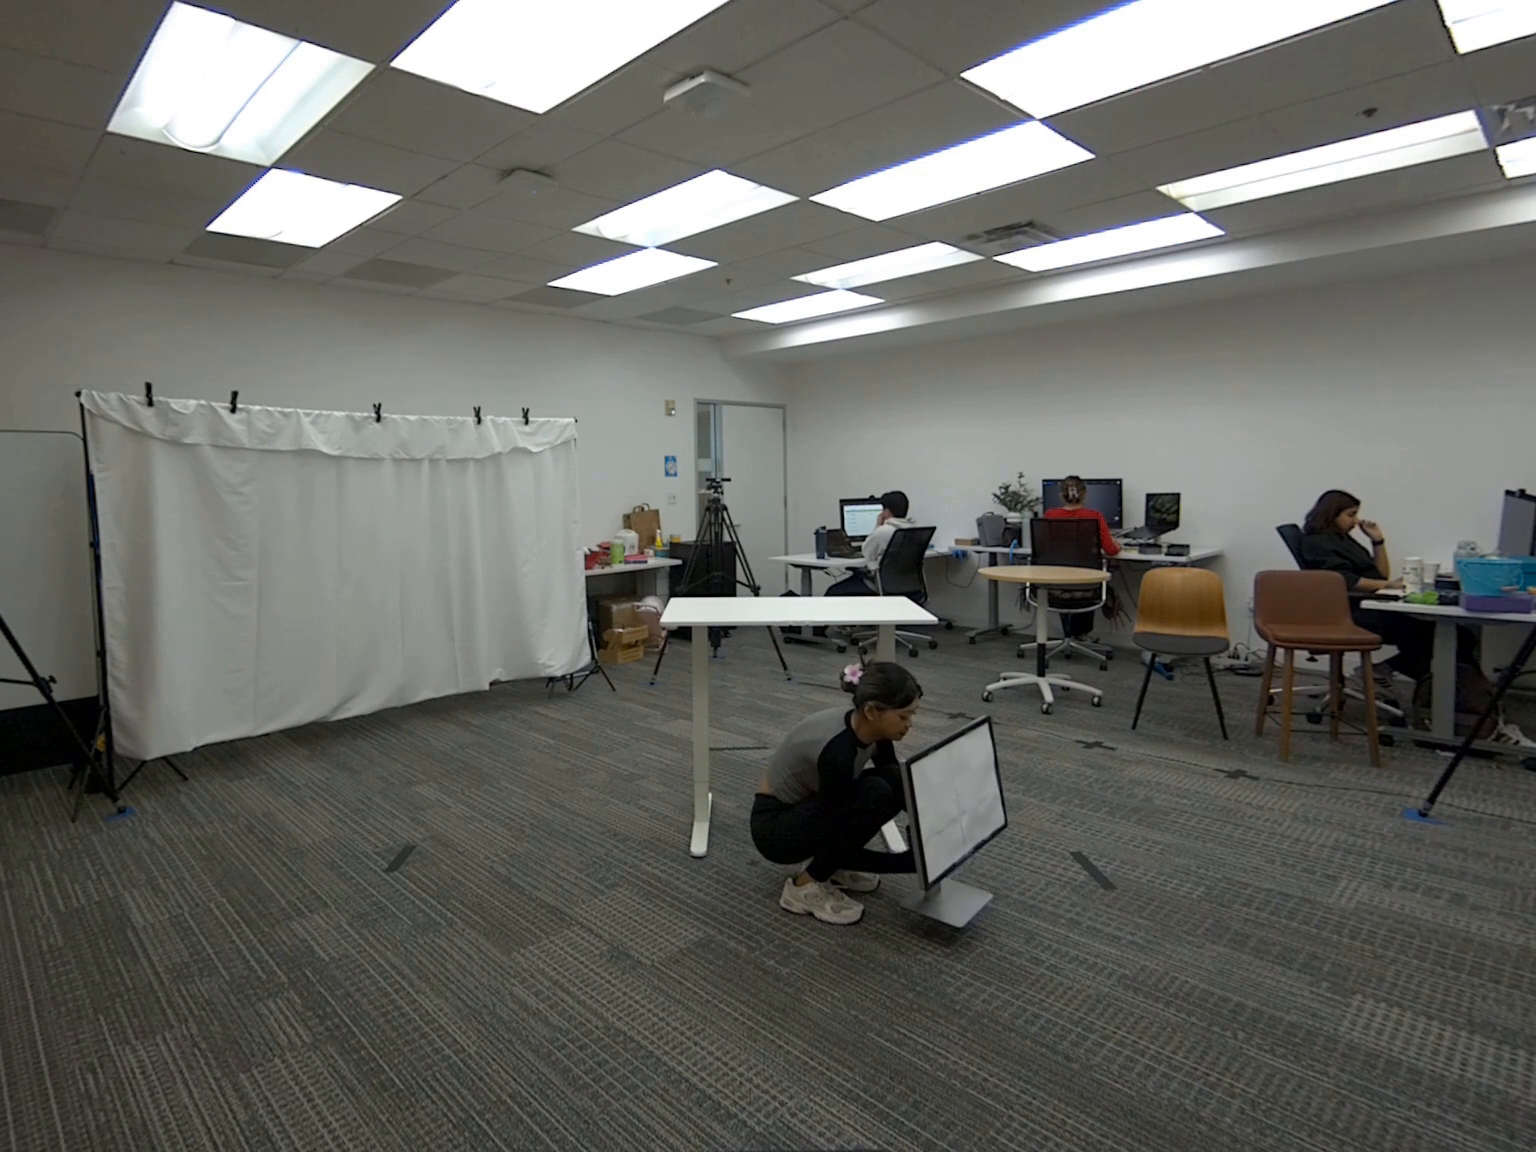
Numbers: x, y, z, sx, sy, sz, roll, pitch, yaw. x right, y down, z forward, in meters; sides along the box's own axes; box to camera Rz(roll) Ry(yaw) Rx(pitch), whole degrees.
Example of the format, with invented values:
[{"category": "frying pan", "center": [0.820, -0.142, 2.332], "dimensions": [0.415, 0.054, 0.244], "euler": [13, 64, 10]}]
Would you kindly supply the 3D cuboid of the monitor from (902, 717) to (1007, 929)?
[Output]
[{"category": "monitor", "center": [0.547, 0.748, 2.607], "dimensions": [0.193, 0.520, 0.525], "euler": [5, 7, 39]}]
